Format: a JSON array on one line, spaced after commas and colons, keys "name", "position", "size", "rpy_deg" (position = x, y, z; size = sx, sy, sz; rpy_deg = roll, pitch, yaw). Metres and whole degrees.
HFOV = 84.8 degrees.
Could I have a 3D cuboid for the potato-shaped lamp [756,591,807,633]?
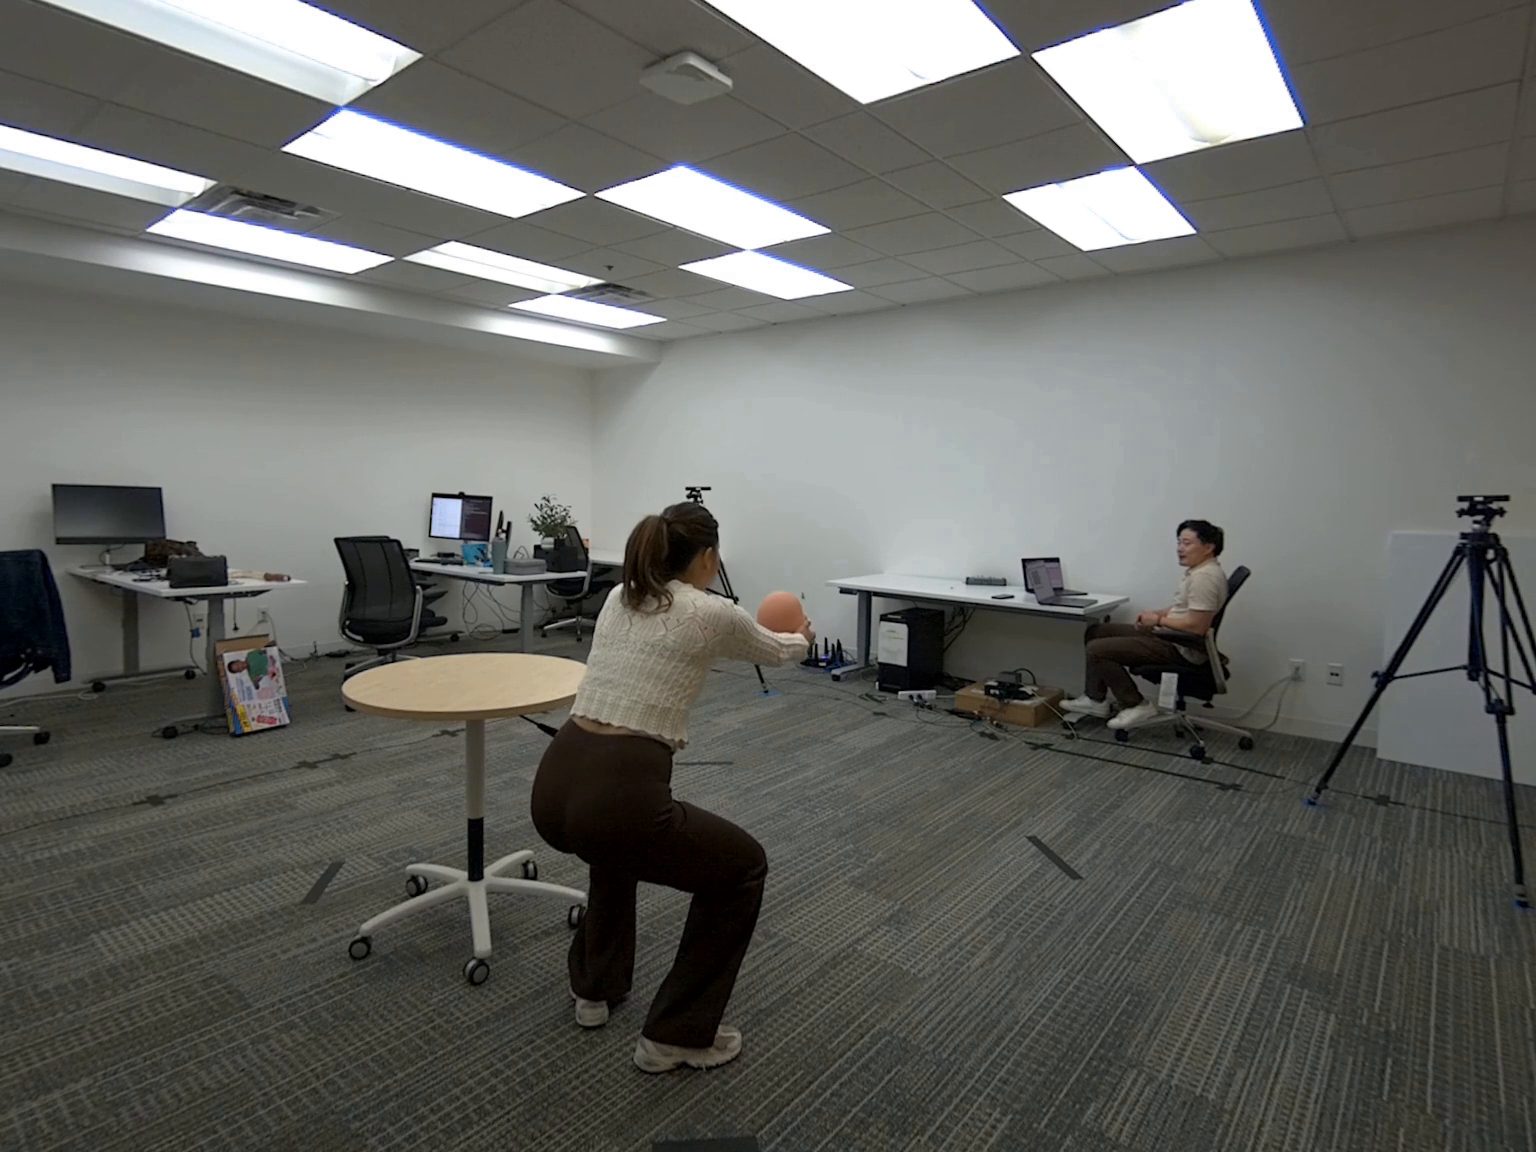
[{"name": "potato-shaped lamp", "position": [0.036, 0.145, 2.715], "size": [0.170, 0.198, 0.166], "rpy_deg": [1, 3, 40]}]
